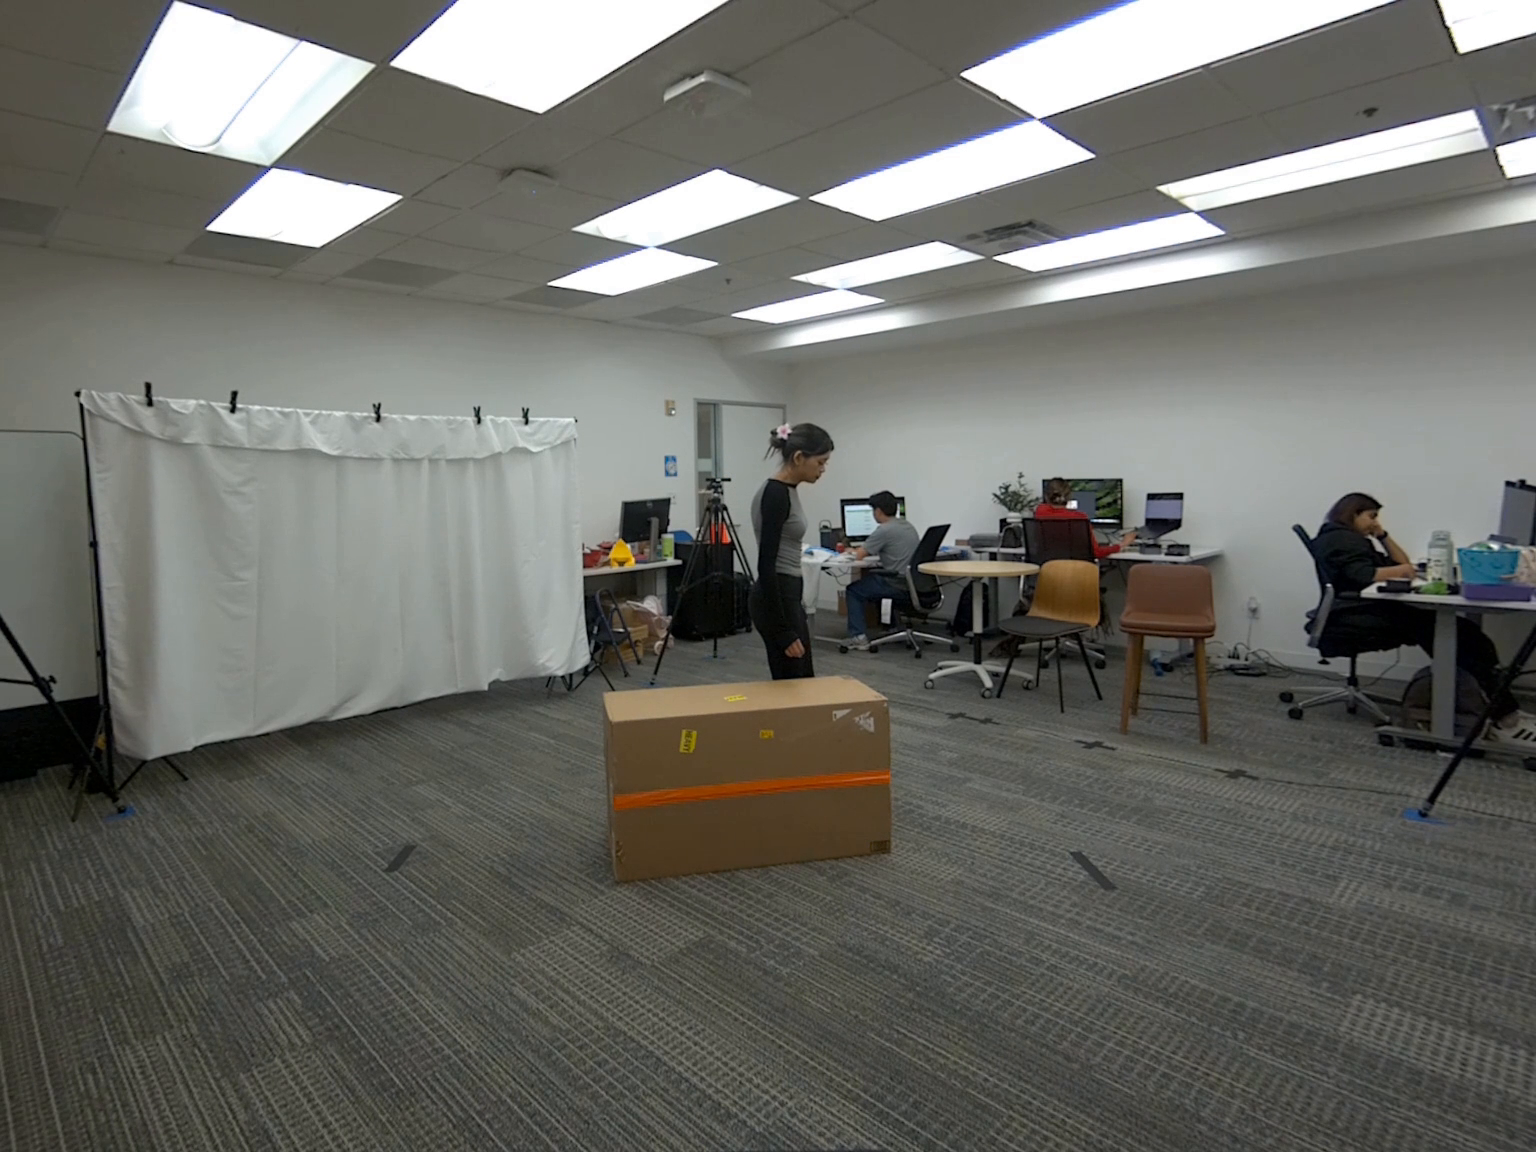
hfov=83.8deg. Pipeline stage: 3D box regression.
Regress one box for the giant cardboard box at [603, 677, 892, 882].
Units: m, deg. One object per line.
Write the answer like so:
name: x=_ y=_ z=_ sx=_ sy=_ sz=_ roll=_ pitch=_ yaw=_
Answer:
giant cardboard box: x=-0.095 y=0.737 z=3.247 sx=1.014 sy=0.576 sz=0.432 roll=-2 pitch=4 yaw=-12
